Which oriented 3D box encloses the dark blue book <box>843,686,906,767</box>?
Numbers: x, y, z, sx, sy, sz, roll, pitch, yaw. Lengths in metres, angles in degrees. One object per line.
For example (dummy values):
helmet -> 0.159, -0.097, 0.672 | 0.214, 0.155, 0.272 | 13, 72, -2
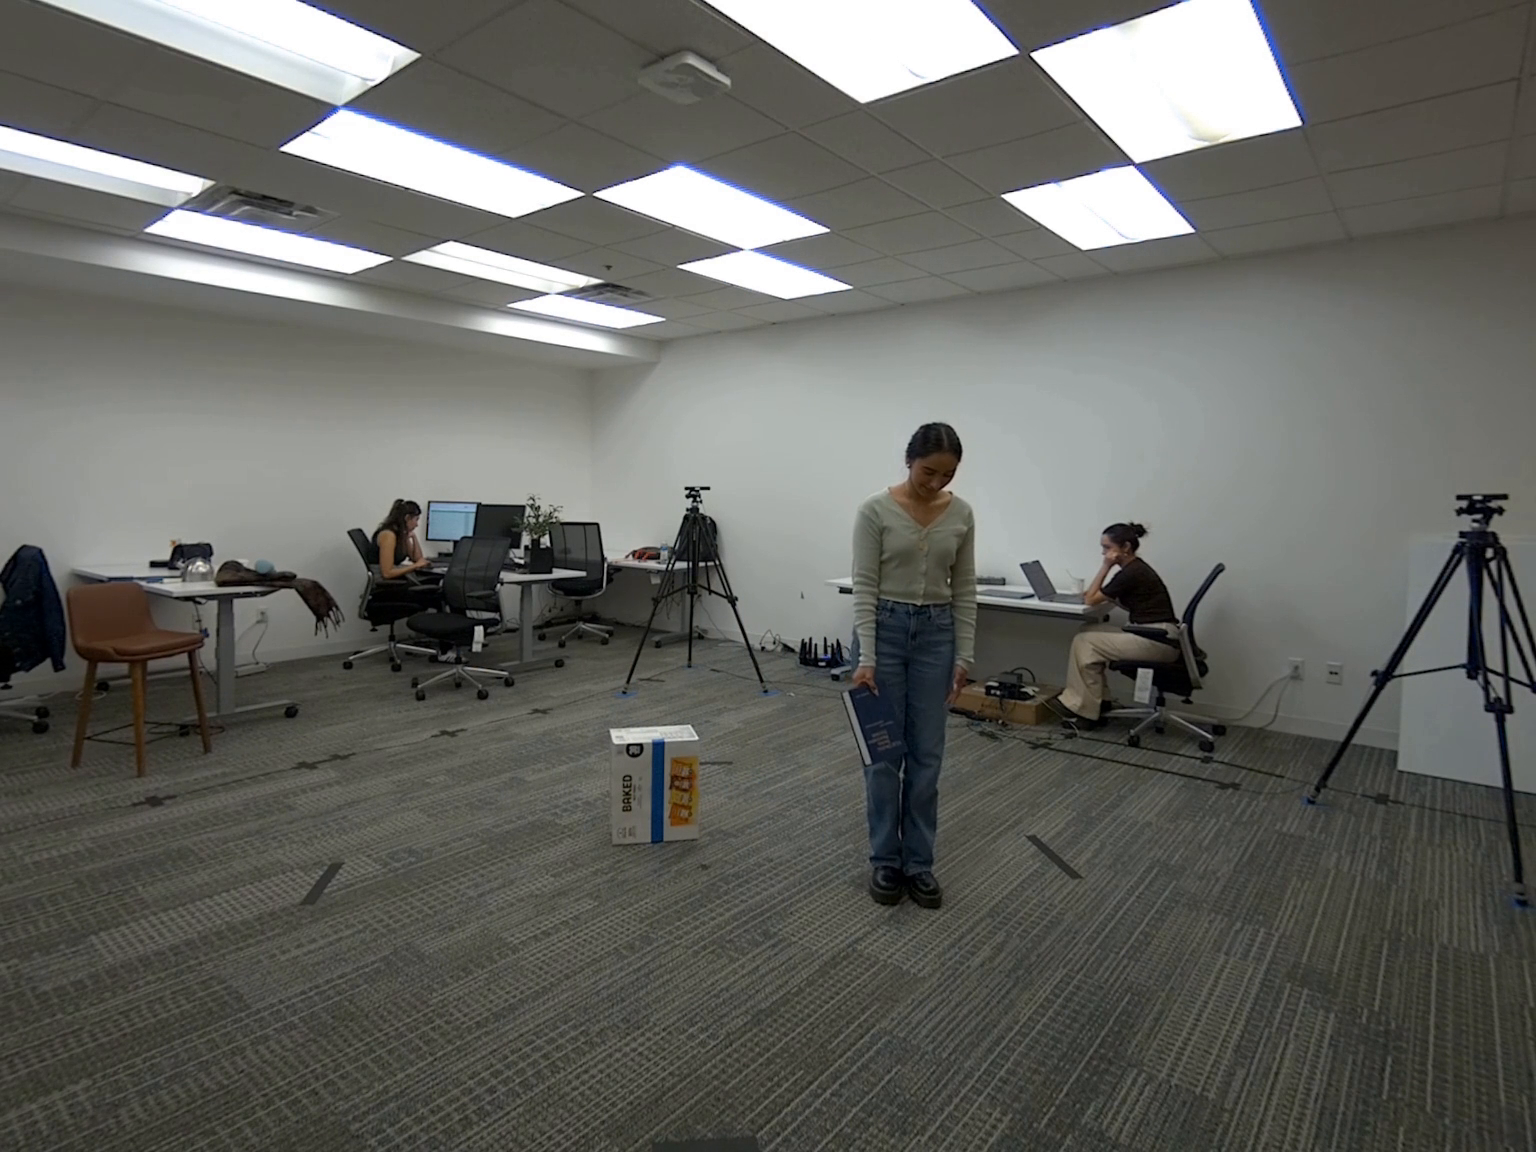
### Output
dark blue book -> 0.341, 0.474, 2.772 | 0.159, 0.249, 0.045 | -11, -14, -34
